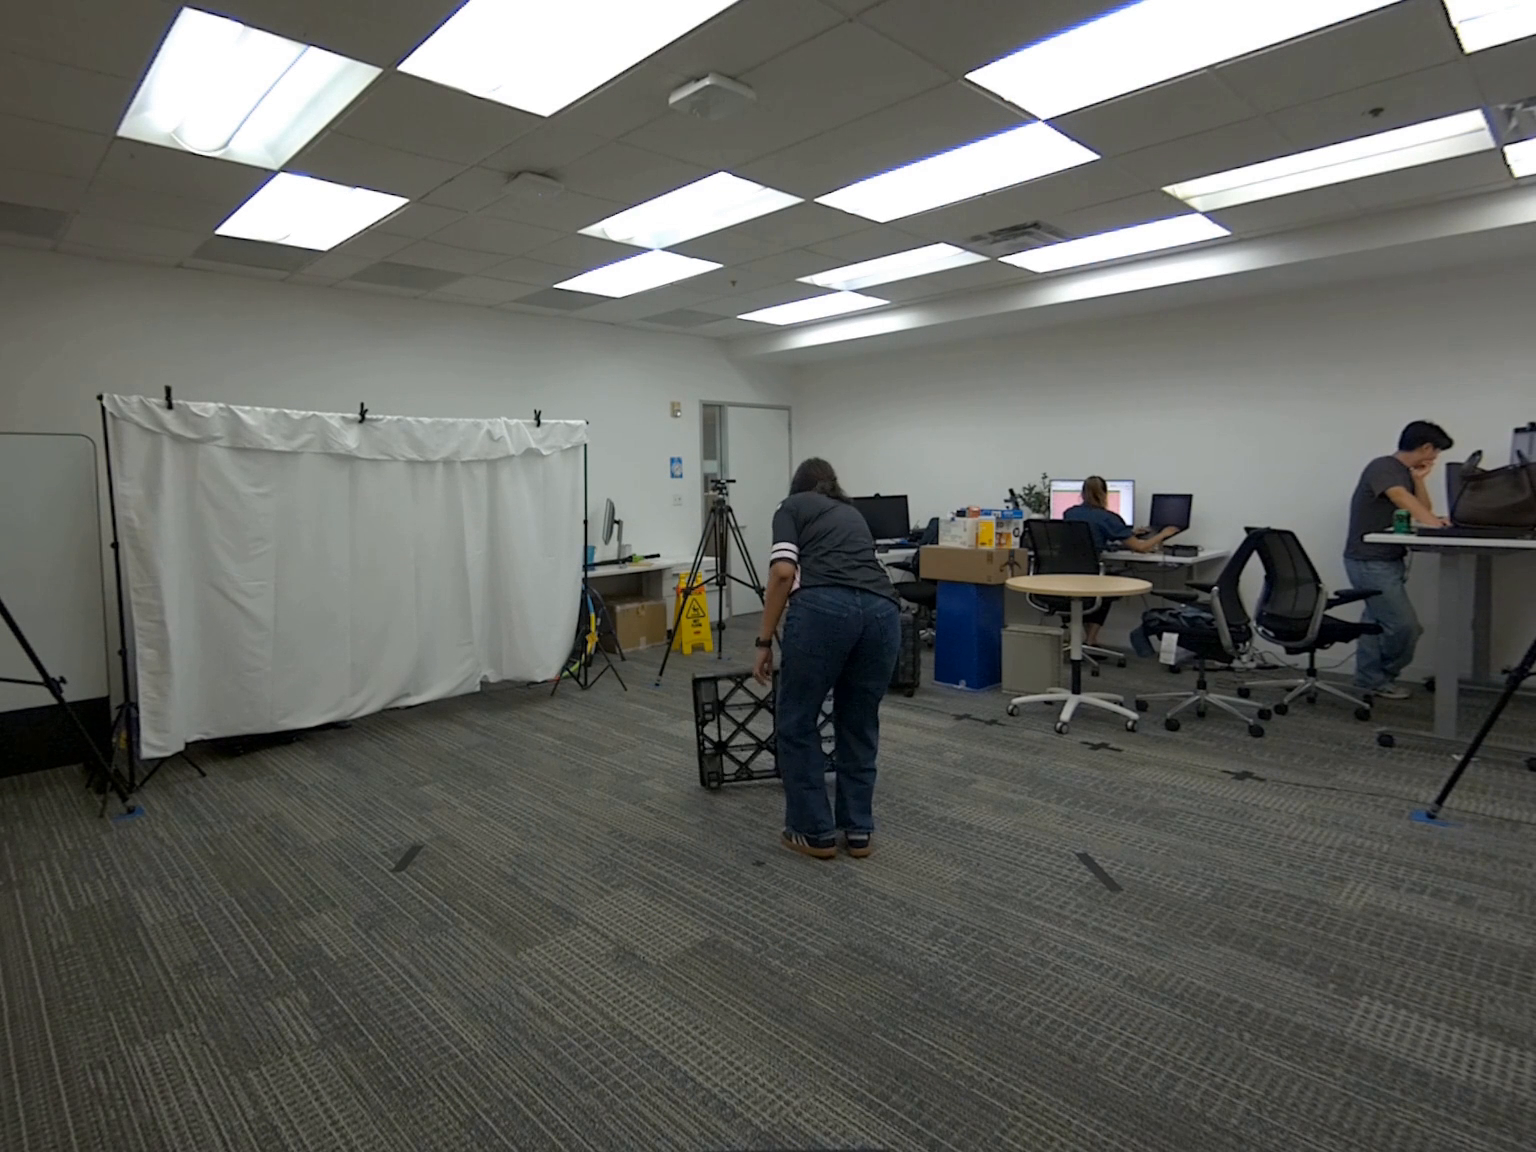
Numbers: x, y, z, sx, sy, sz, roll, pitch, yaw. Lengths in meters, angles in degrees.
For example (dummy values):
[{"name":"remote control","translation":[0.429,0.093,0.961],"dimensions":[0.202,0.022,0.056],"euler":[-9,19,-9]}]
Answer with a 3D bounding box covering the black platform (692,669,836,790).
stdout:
[{"name":"black platform","translation":[0.089,0.671,3.747],"dimensions":[0.803,0.591,0.147],"euler":[-5,28,-3]}]
